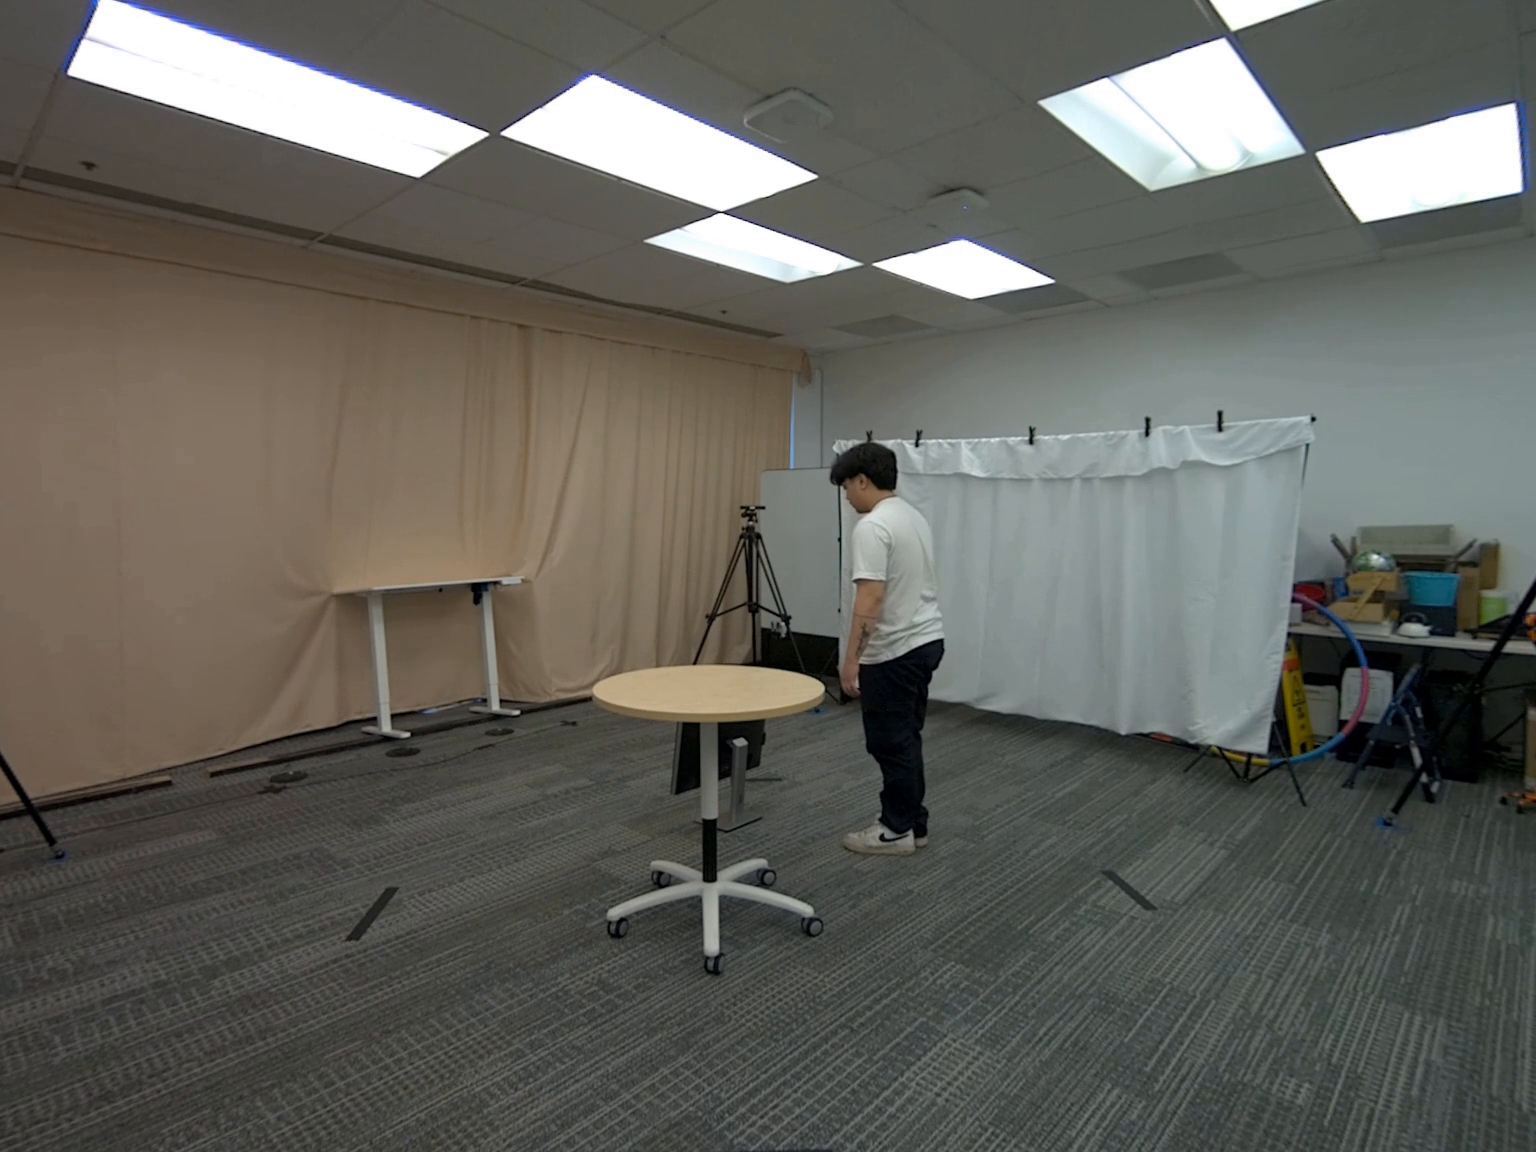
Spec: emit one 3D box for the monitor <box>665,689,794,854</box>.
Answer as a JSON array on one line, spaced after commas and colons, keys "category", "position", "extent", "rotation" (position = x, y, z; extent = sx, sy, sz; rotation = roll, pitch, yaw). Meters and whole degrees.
[{"category": "monitor", "position": [-0.164, 0.831, 3.717], "extent": [0.217, 0.552, 0.548], "rotation": [6, 7, 43]}]
